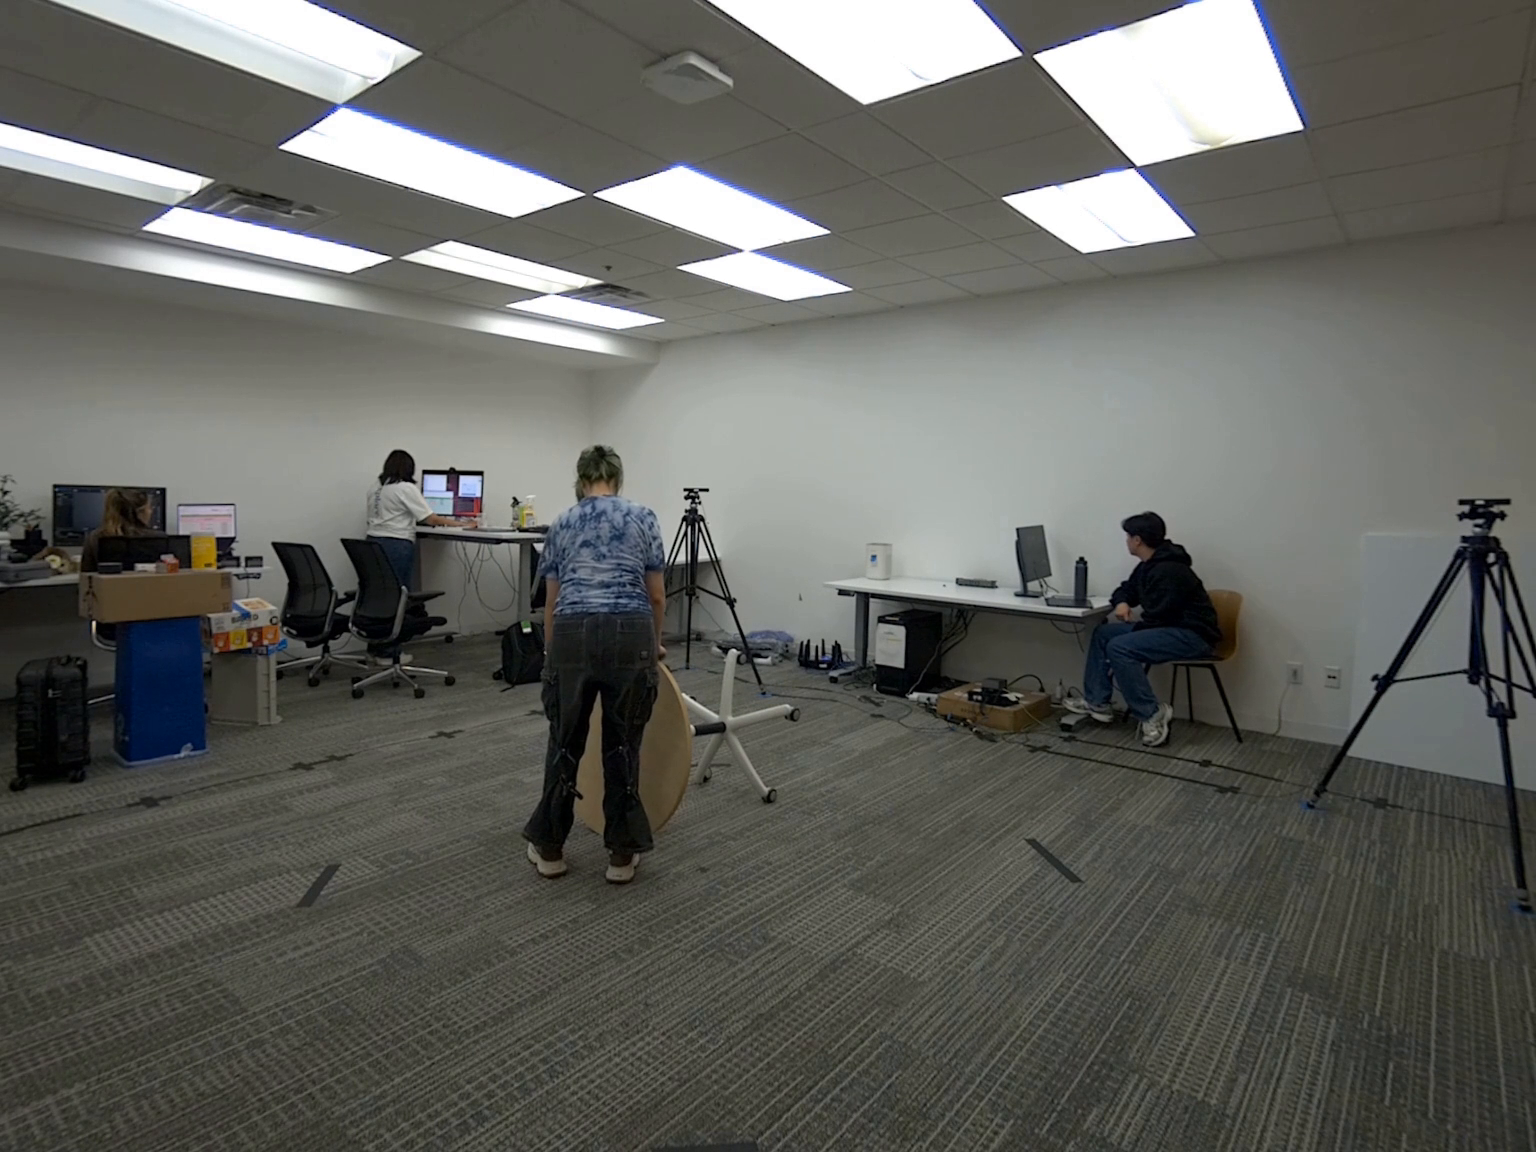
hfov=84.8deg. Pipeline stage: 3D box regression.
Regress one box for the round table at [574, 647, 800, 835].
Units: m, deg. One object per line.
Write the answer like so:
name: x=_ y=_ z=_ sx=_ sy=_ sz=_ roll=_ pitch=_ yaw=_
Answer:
round table: x=-0.377 y=0.673 z=3.684 sx=0.789 sy=0.765 sz=0.767 roll=4 pitch=-2 yaw=39
